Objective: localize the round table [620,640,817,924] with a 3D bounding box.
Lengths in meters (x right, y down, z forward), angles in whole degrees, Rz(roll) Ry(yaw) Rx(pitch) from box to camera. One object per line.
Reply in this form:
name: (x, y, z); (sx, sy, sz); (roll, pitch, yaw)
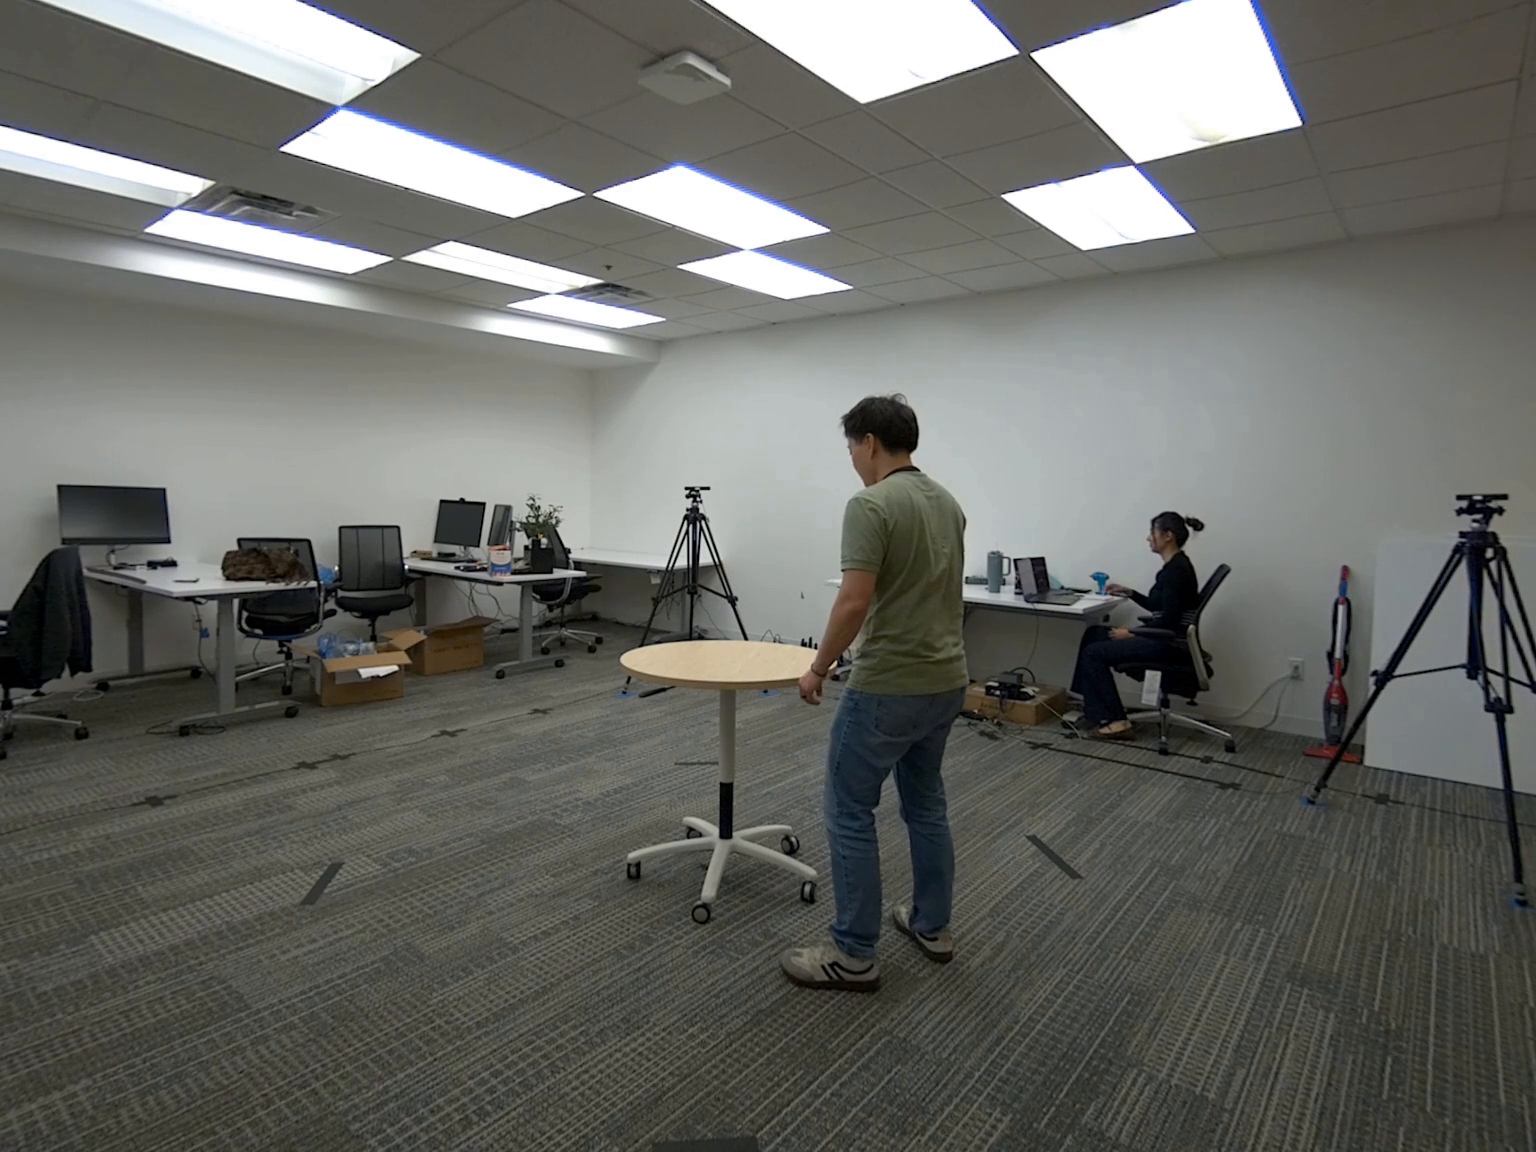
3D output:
round table: (-0.162, 0.683, 3.036); (0.763, 0.792, 0.767); (1, 4, -2)
